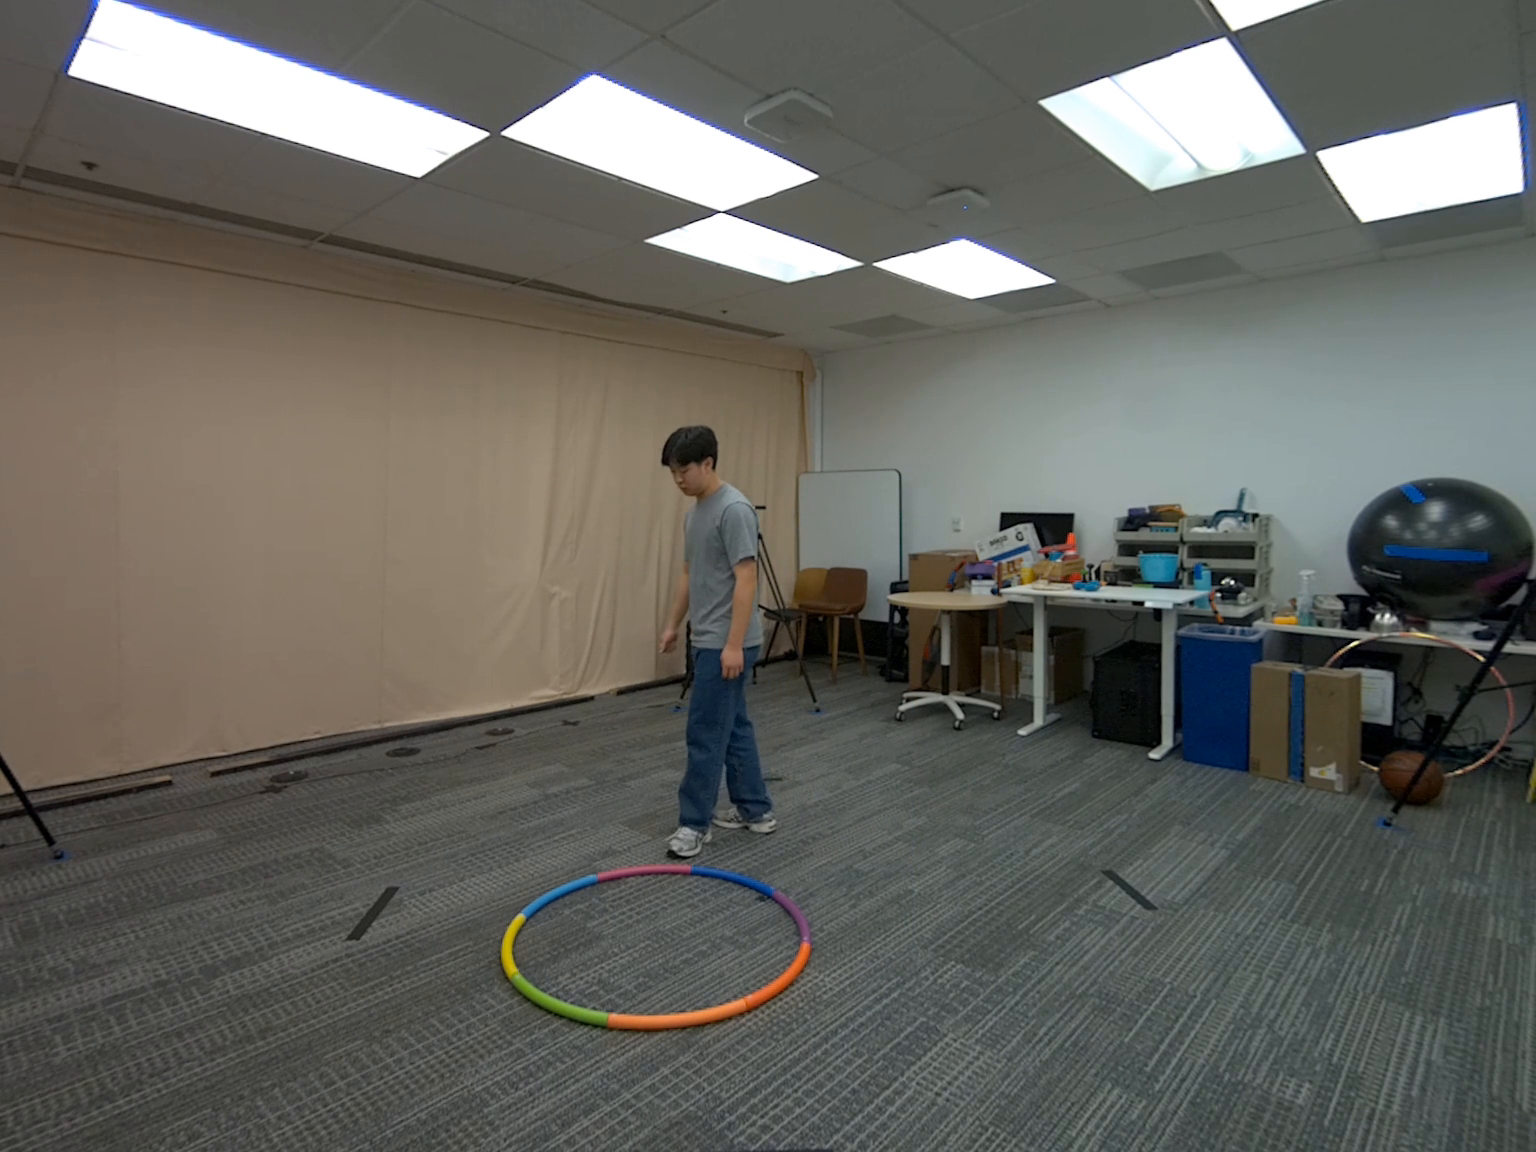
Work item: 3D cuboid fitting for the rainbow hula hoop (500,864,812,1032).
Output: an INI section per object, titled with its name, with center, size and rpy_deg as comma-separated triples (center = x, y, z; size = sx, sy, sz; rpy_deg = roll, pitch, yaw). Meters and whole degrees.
[rainbow hula hoop]
center = -0.352, 1.139, 2.723
size = 0.978, 0.035, 0.982
rpy_deg = -1, 5, -2
